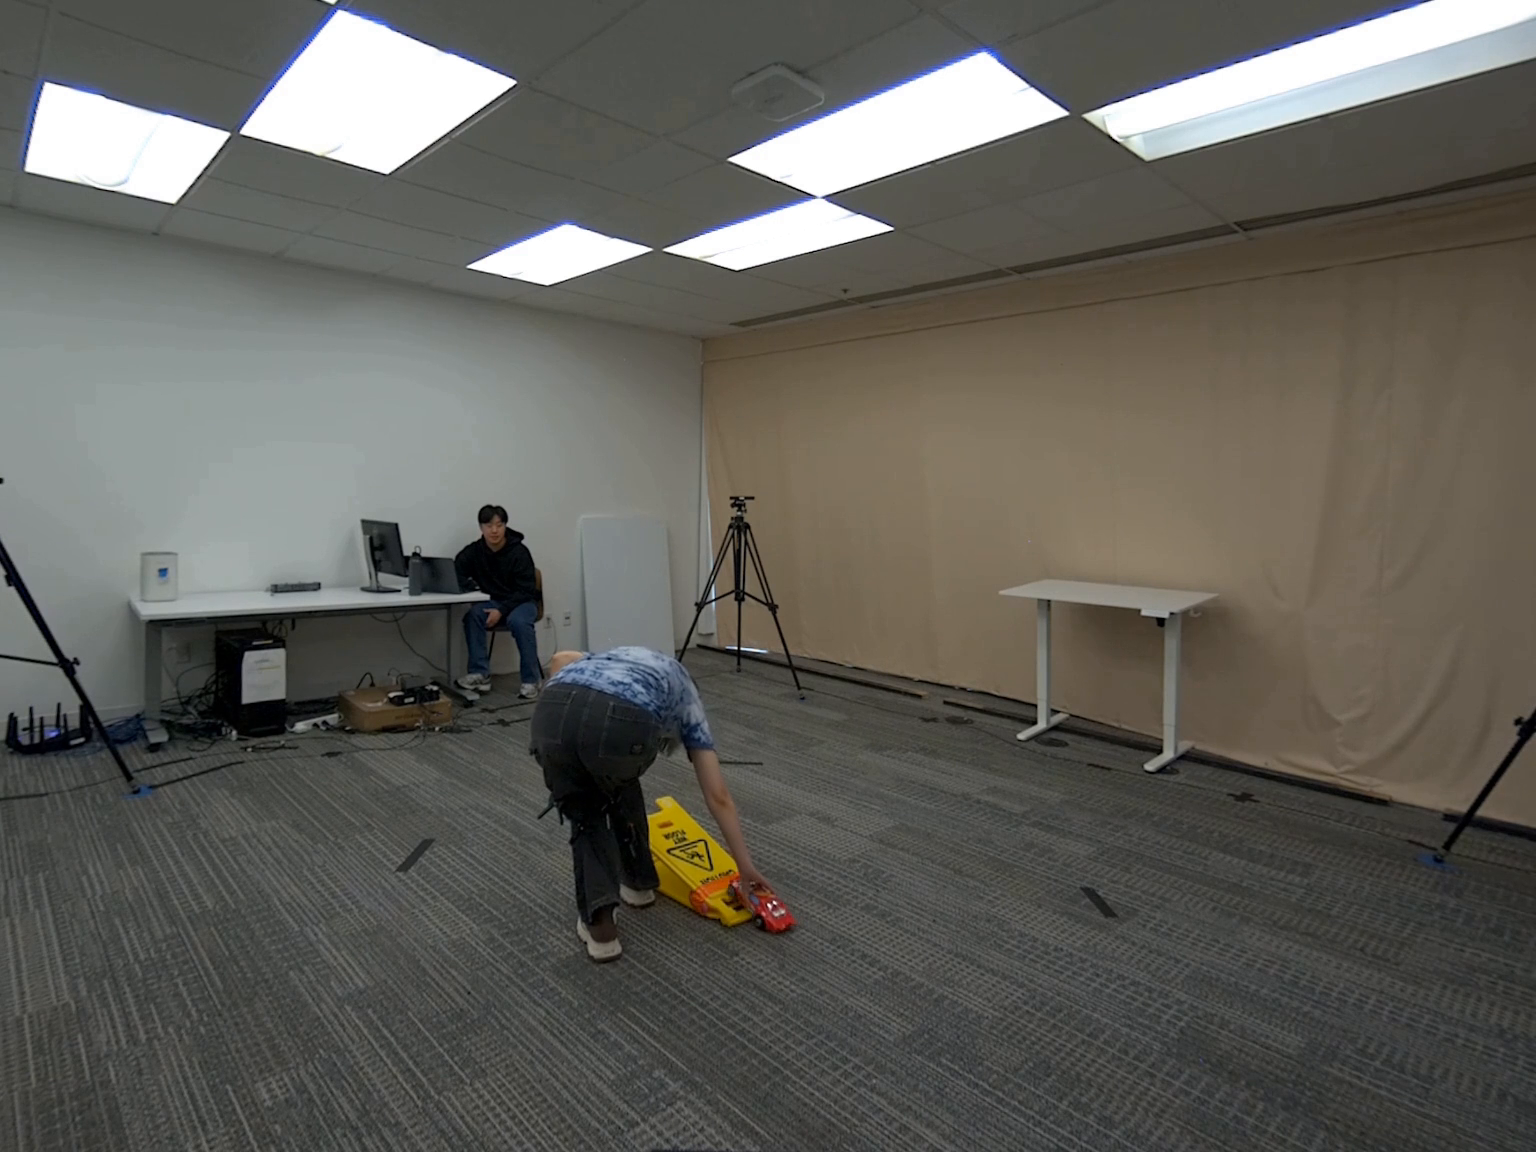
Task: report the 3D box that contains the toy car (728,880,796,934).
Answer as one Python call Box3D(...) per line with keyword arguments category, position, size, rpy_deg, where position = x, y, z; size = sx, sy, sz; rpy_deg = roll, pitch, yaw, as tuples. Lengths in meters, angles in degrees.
Box3D(category="toy car", position=(-0.029, 1.087, 2.766), size=(0.127, 0.082, 0.262), rpy_deg=(-2, 15, -42))
